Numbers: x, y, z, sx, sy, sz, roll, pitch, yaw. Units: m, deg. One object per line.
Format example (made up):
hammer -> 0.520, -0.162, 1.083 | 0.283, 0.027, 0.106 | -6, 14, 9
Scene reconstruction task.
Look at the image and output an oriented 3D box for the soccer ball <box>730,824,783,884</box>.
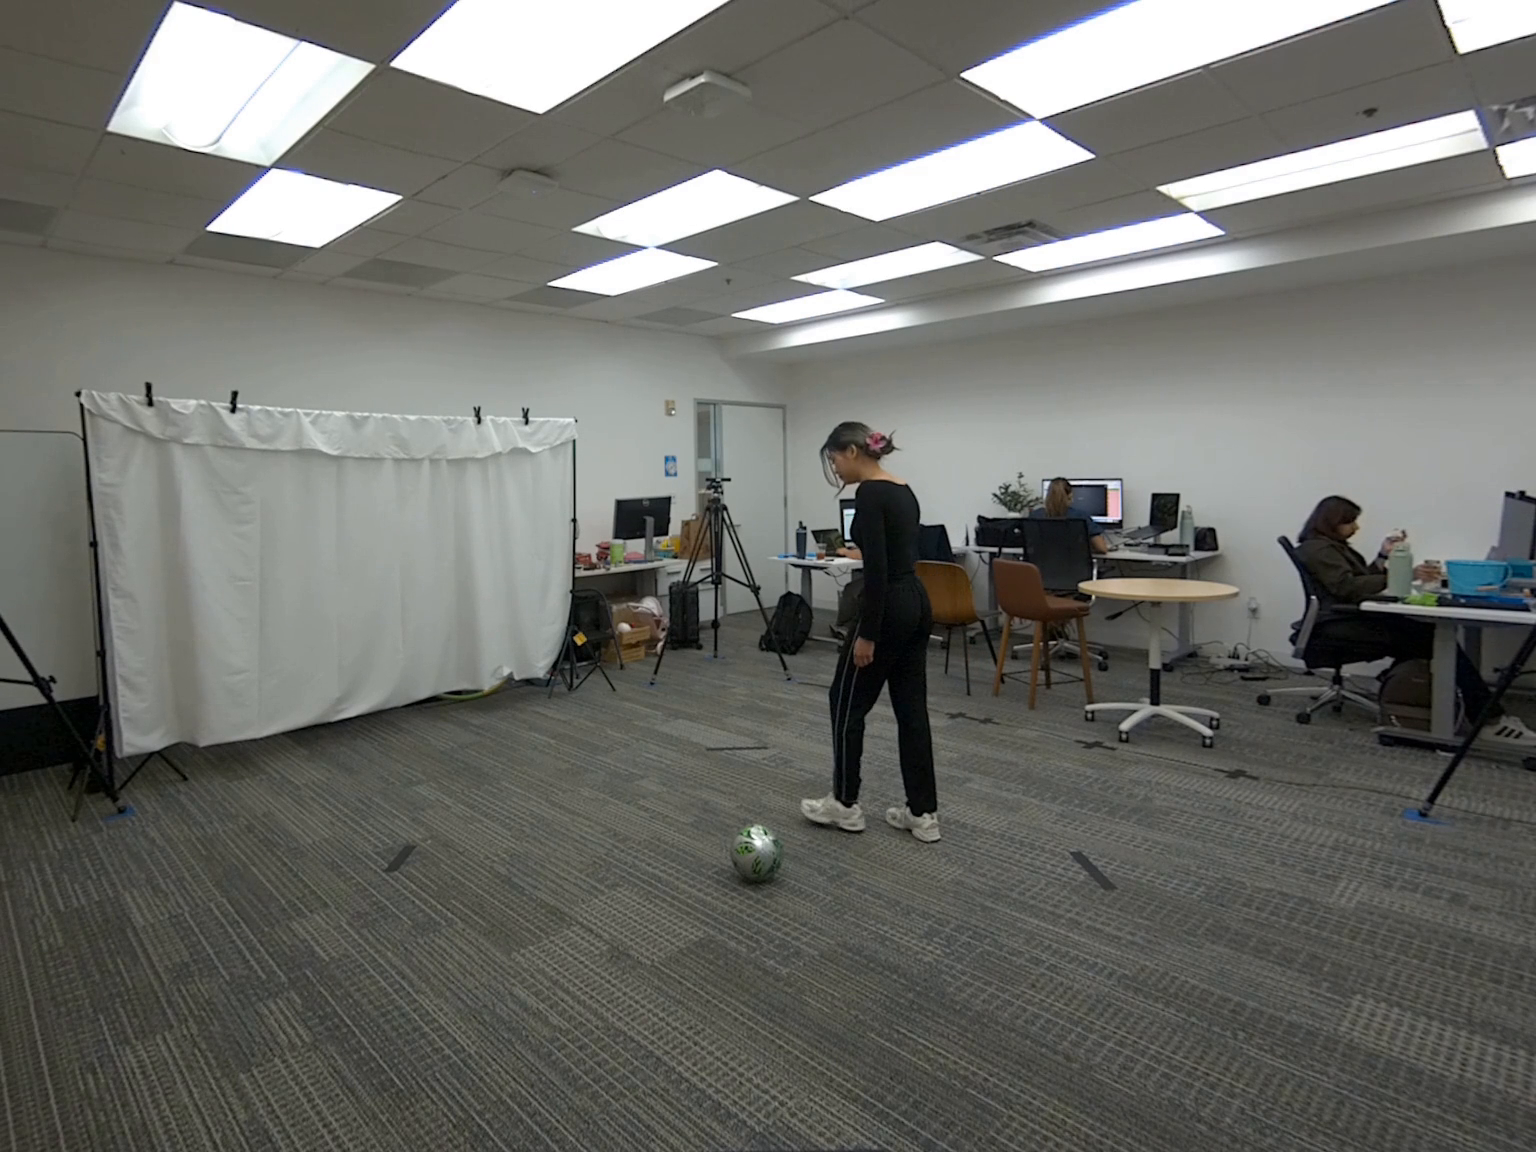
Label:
soccer ball -> -0.034, 0.963, 2.977 | 0.187, 0.187, 0.188 | -1, 5, -2
